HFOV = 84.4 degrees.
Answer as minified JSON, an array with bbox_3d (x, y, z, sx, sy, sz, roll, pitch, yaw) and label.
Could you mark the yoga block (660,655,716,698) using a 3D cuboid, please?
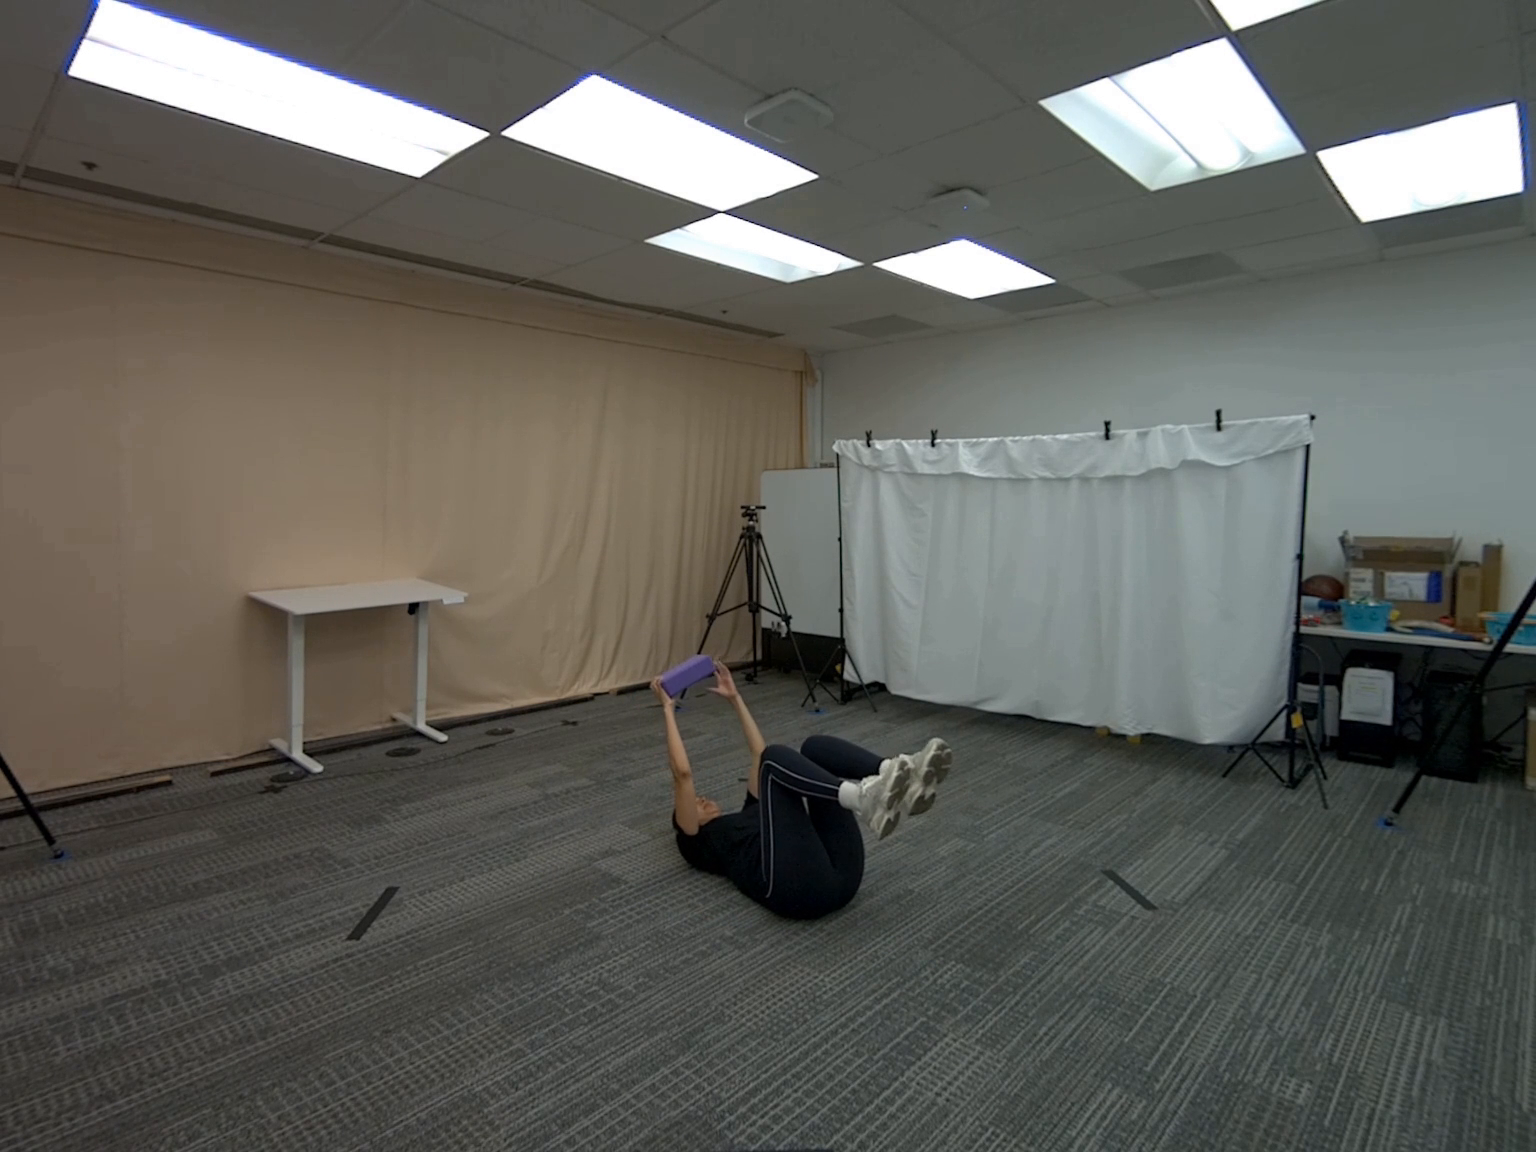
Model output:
[{"bbox_3d":[-0.337,0.403,3.430,0.226,0.076,0.152,-28,7,-23],"label":"yoga block"}]
